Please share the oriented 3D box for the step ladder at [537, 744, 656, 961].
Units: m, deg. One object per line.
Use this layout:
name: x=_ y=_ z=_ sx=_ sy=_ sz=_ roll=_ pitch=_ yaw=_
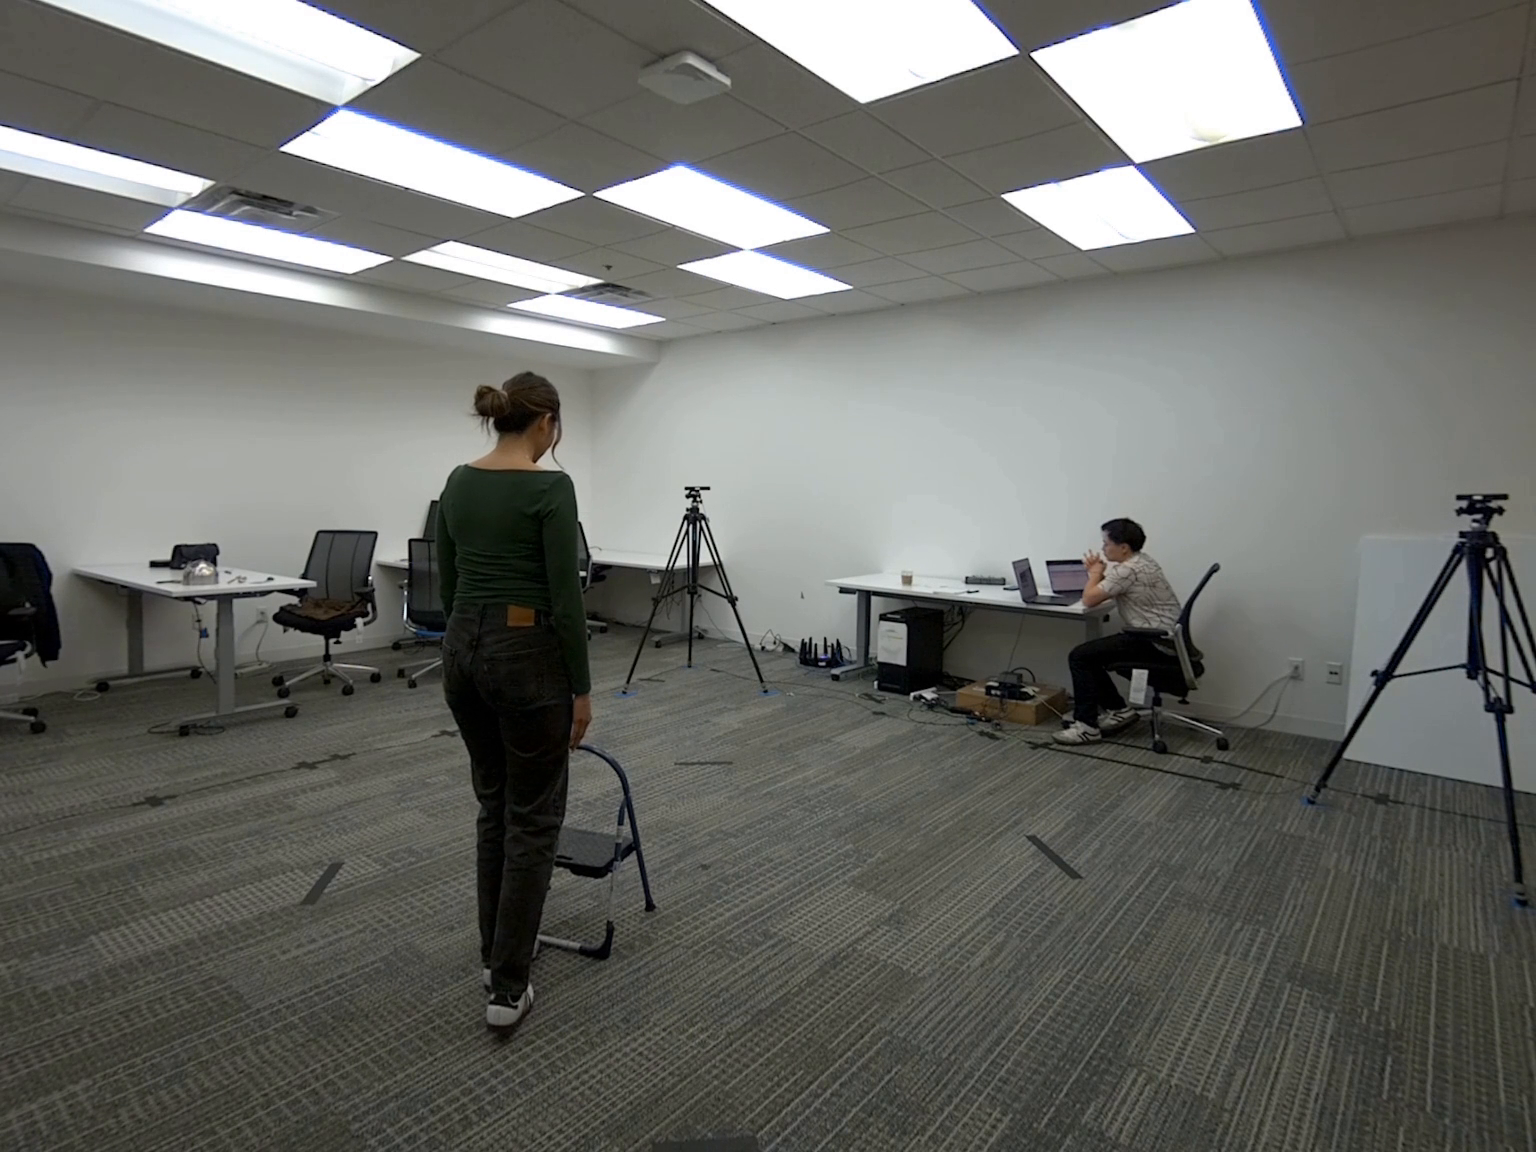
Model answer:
step ladder: x=-0.627 y=0.797 z=2.699 sx=0.439 sy=0.604 sz=0.344 roll=2 pitch=4 yaw=18
